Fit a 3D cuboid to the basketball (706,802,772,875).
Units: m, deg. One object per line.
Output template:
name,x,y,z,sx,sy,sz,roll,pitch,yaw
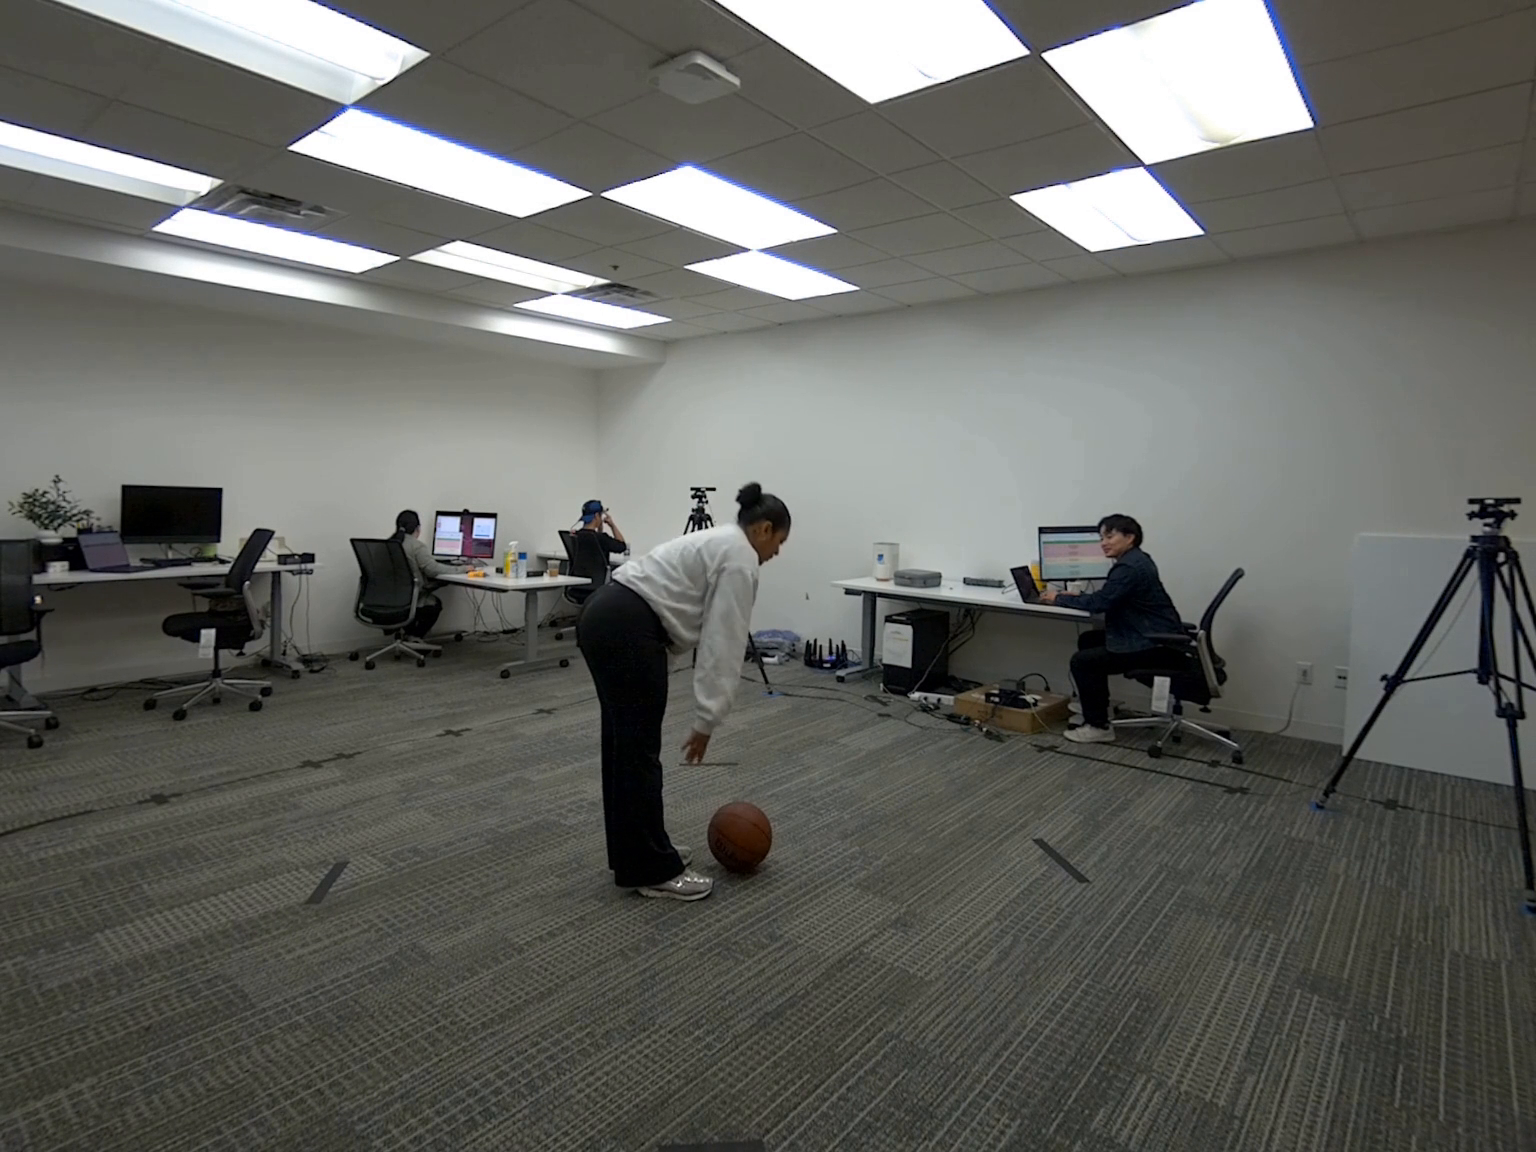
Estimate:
basketball,-0.111,0.948,3.113,0.235,0.235,0.237,1,4,-2
